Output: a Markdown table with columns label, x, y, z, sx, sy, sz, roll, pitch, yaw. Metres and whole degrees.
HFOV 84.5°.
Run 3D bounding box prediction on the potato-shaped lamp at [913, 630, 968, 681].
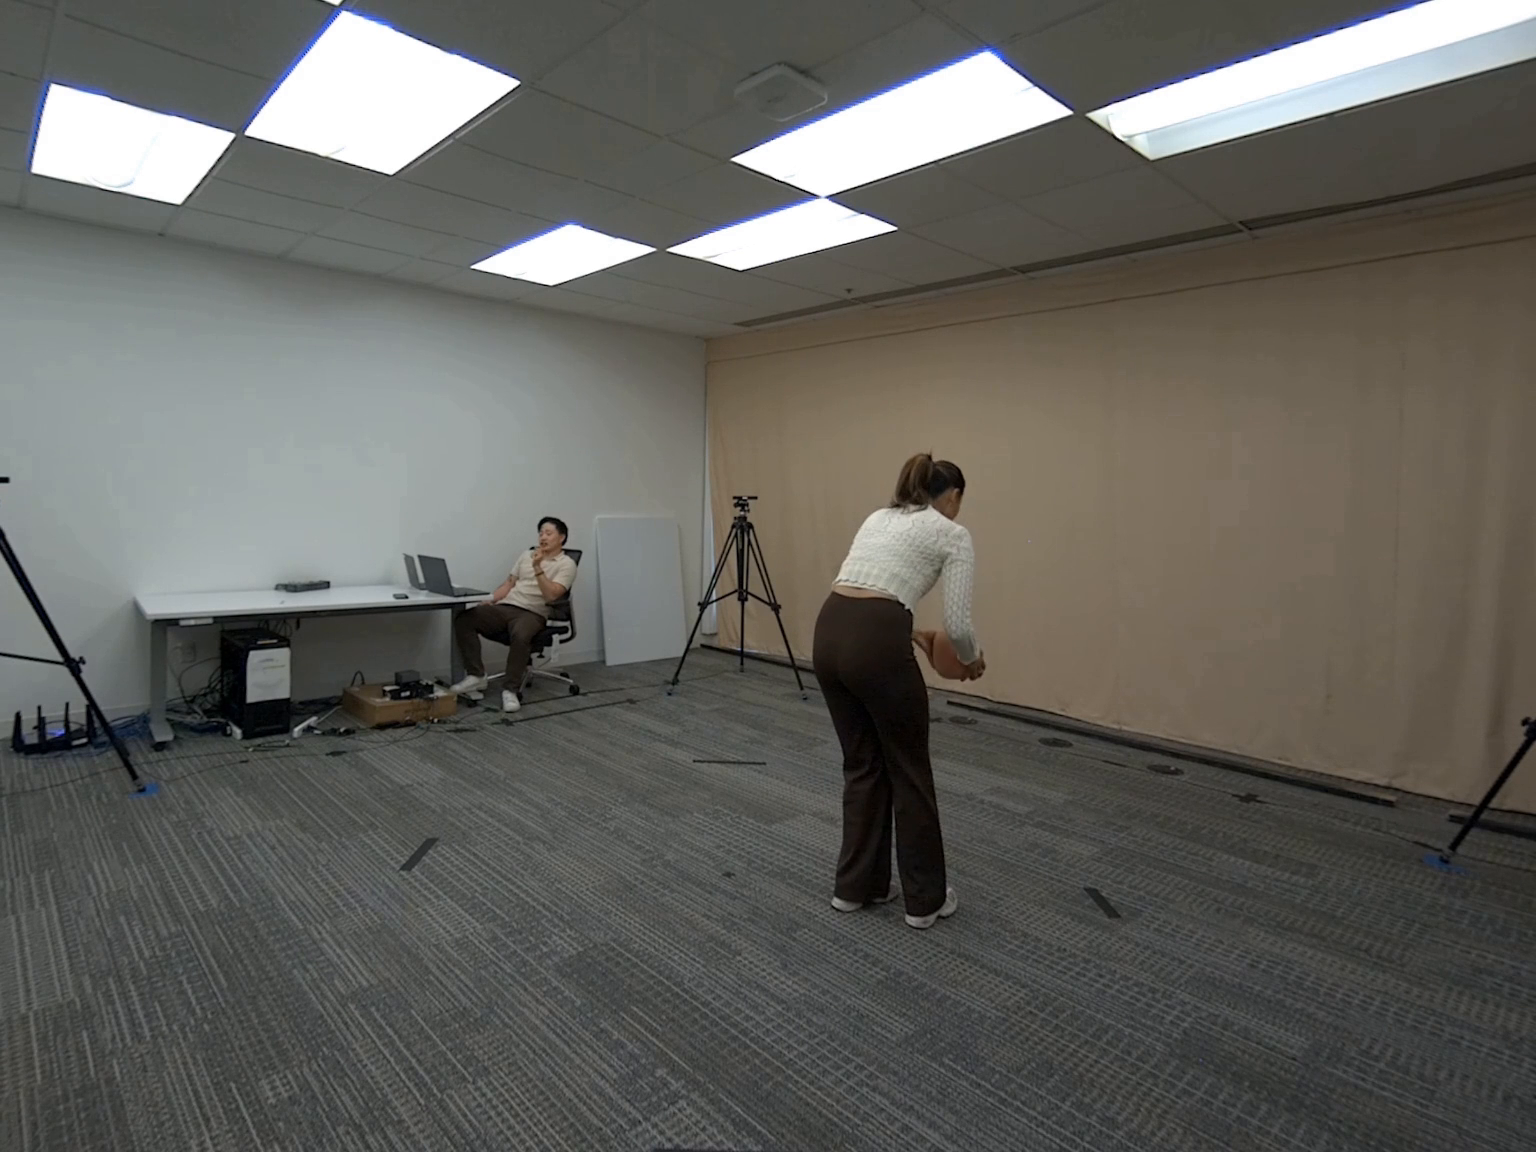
| label | x | y | z | sx | sy | sz | roll | pitch | yaw |
| --- | --- | --- | --- | --- | --- | --- | --- | --- | --- |
| potato-shaped lamp | 0.666 | 0.275 | 3.039 | 0.168 | 0.198 | 0.168 | -4 | 3 | 45 |
